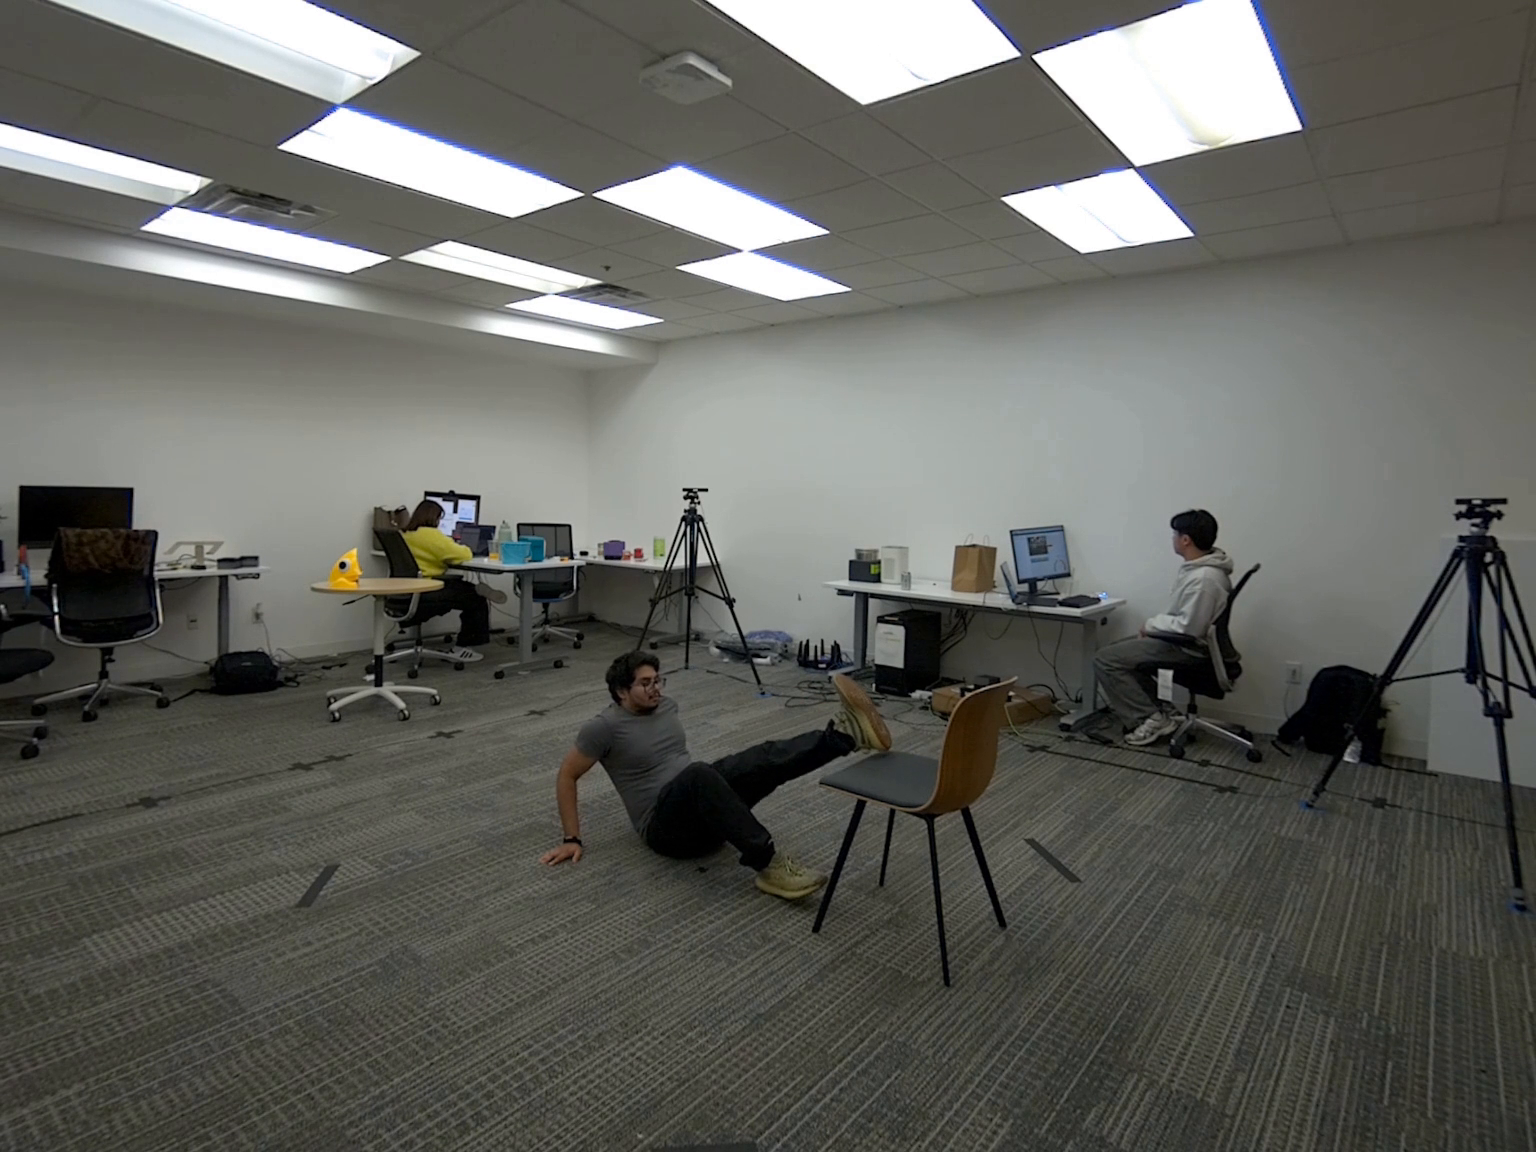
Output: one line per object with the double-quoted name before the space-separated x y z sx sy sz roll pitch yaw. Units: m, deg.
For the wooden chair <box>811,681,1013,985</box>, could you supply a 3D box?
"wooden chair" 0.453 0.698 2.691 0.542 0.873 0.464 10 7 37
